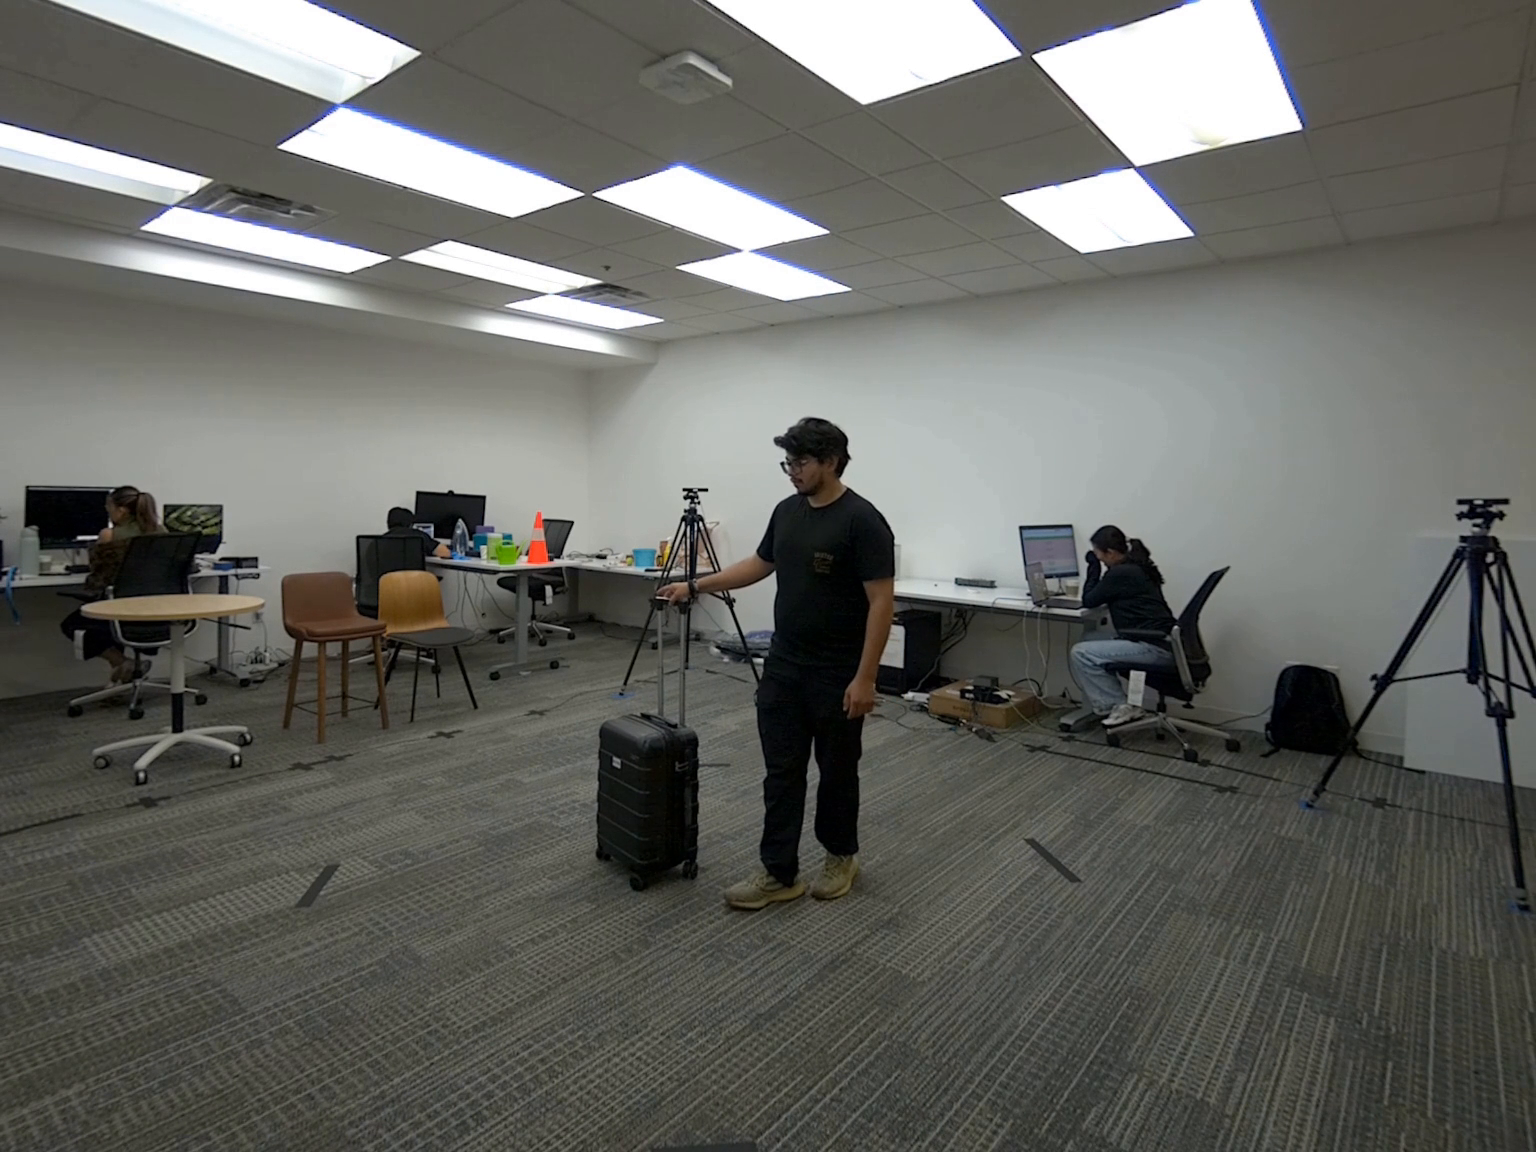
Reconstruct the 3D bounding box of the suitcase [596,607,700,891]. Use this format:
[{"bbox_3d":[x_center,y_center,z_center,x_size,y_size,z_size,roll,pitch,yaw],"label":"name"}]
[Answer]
[{"bbox_3d":[-0.451,0.594,3.086,0.250,0.975,0.396,-3,4,-37],"label":"suitcase"}]
